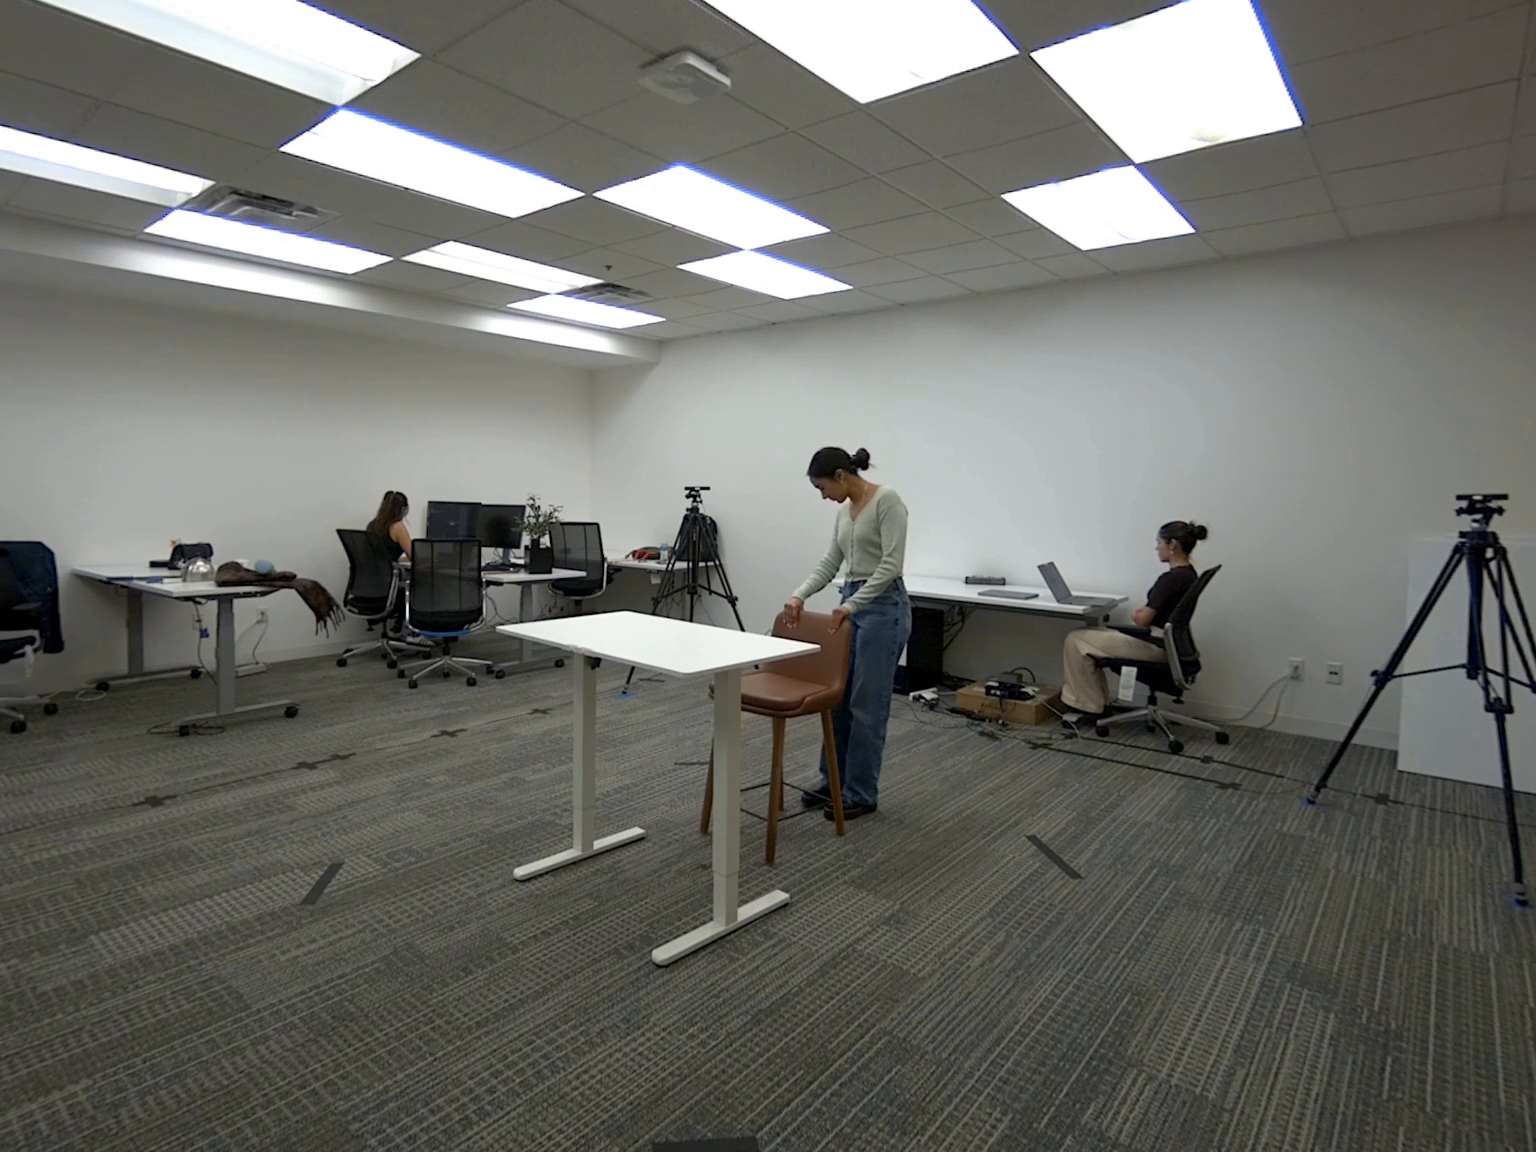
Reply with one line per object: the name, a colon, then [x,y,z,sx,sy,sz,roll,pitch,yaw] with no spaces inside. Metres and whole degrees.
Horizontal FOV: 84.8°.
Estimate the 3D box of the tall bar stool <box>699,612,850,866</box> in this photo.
tall bar stool: [0.034,0.598,3.415,0.453,0.888,0.472,0,3,-43]
